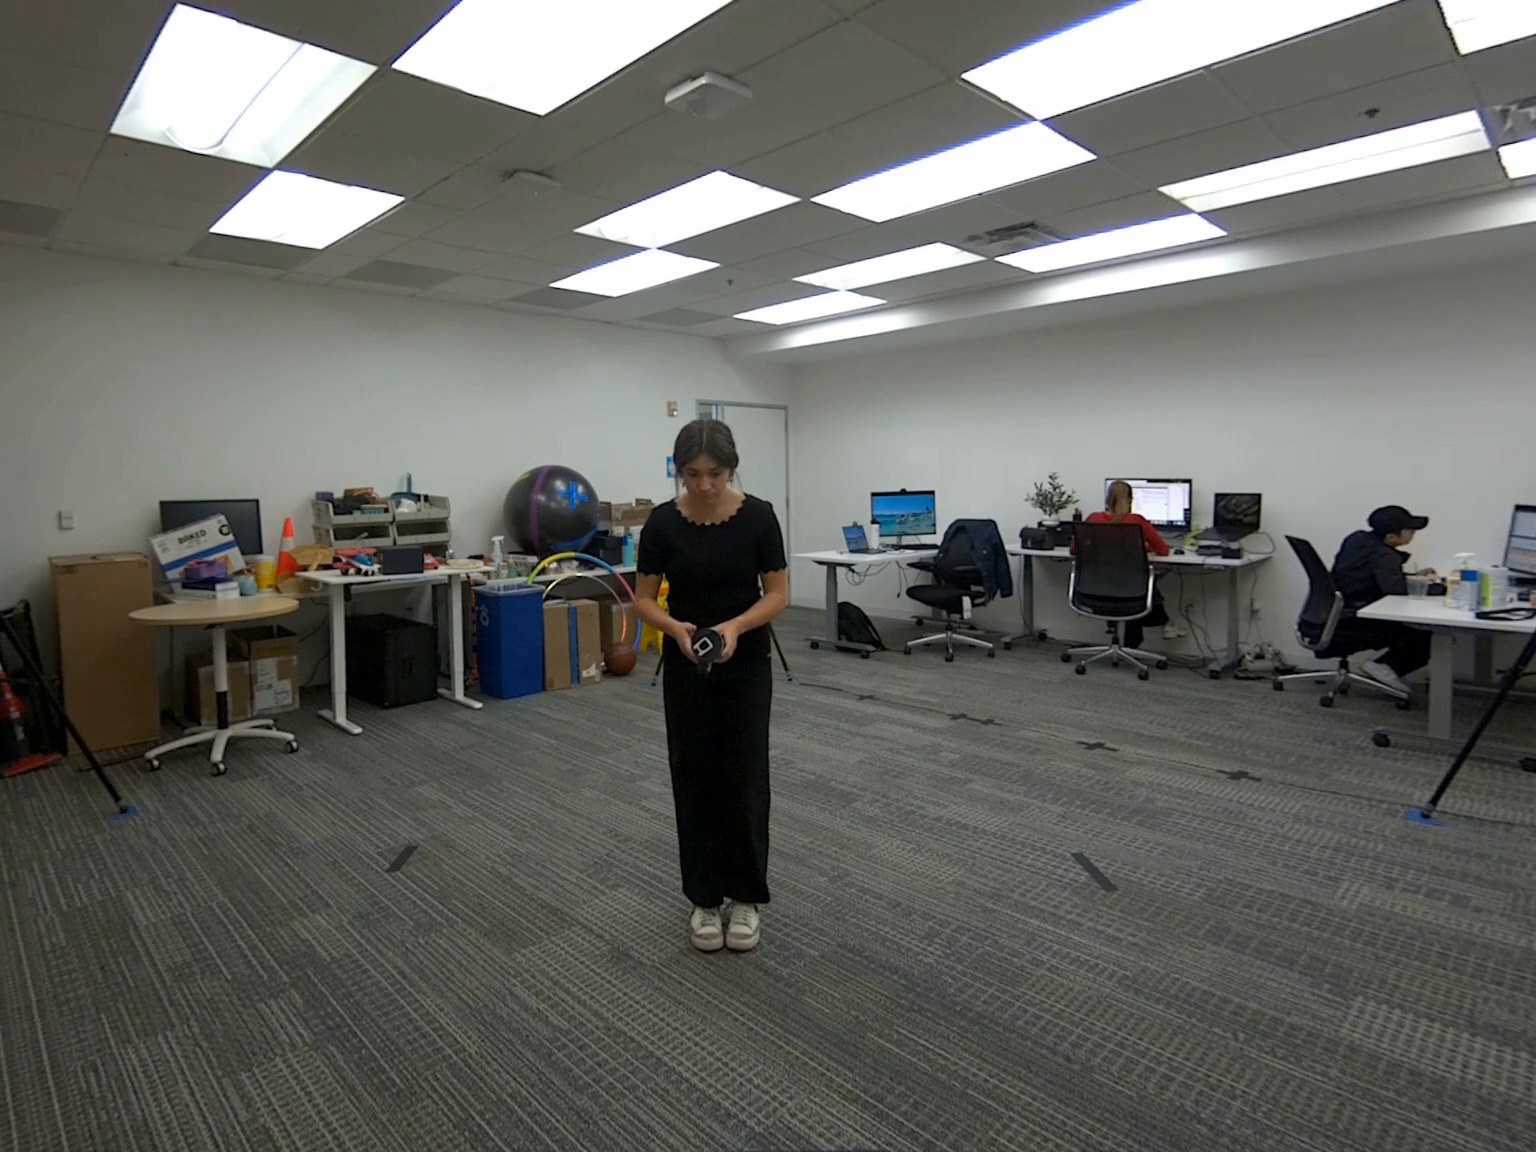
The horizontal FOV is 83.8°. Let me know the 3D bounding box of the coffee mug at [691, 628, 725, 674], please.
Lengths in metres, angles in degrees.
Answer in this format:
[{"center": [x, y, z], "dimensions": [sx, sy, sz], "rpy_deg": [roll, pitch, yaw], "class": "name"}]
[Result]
[{"center": [-0.172, 0.217, 2.400], "dimensions": [0.089, 0.122, 0.201], "rpy_deg": [34, -10, 5], "class": "coffee mug"}]
